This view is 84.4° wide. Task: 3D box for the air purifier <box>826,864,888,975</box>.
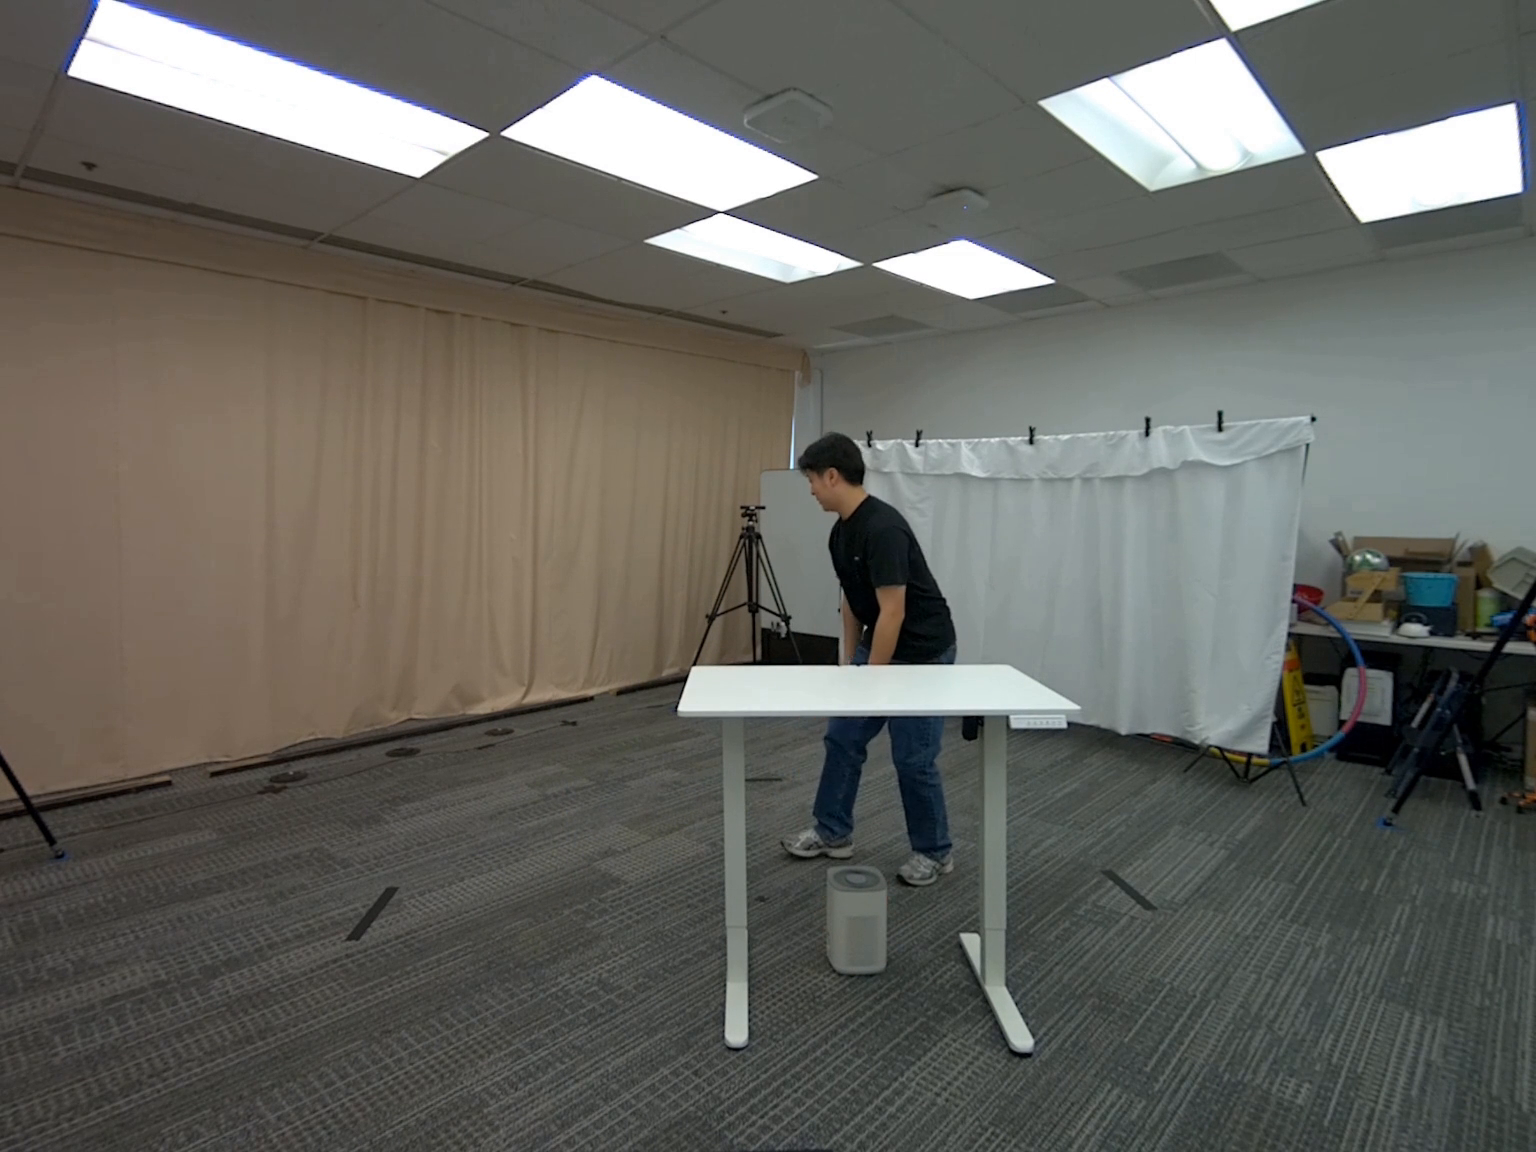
[{"bbox_3d":[0.269,1.040,2.563,0.171,0.265,0.172,0,4,-4],"label":"air purifier"}]
